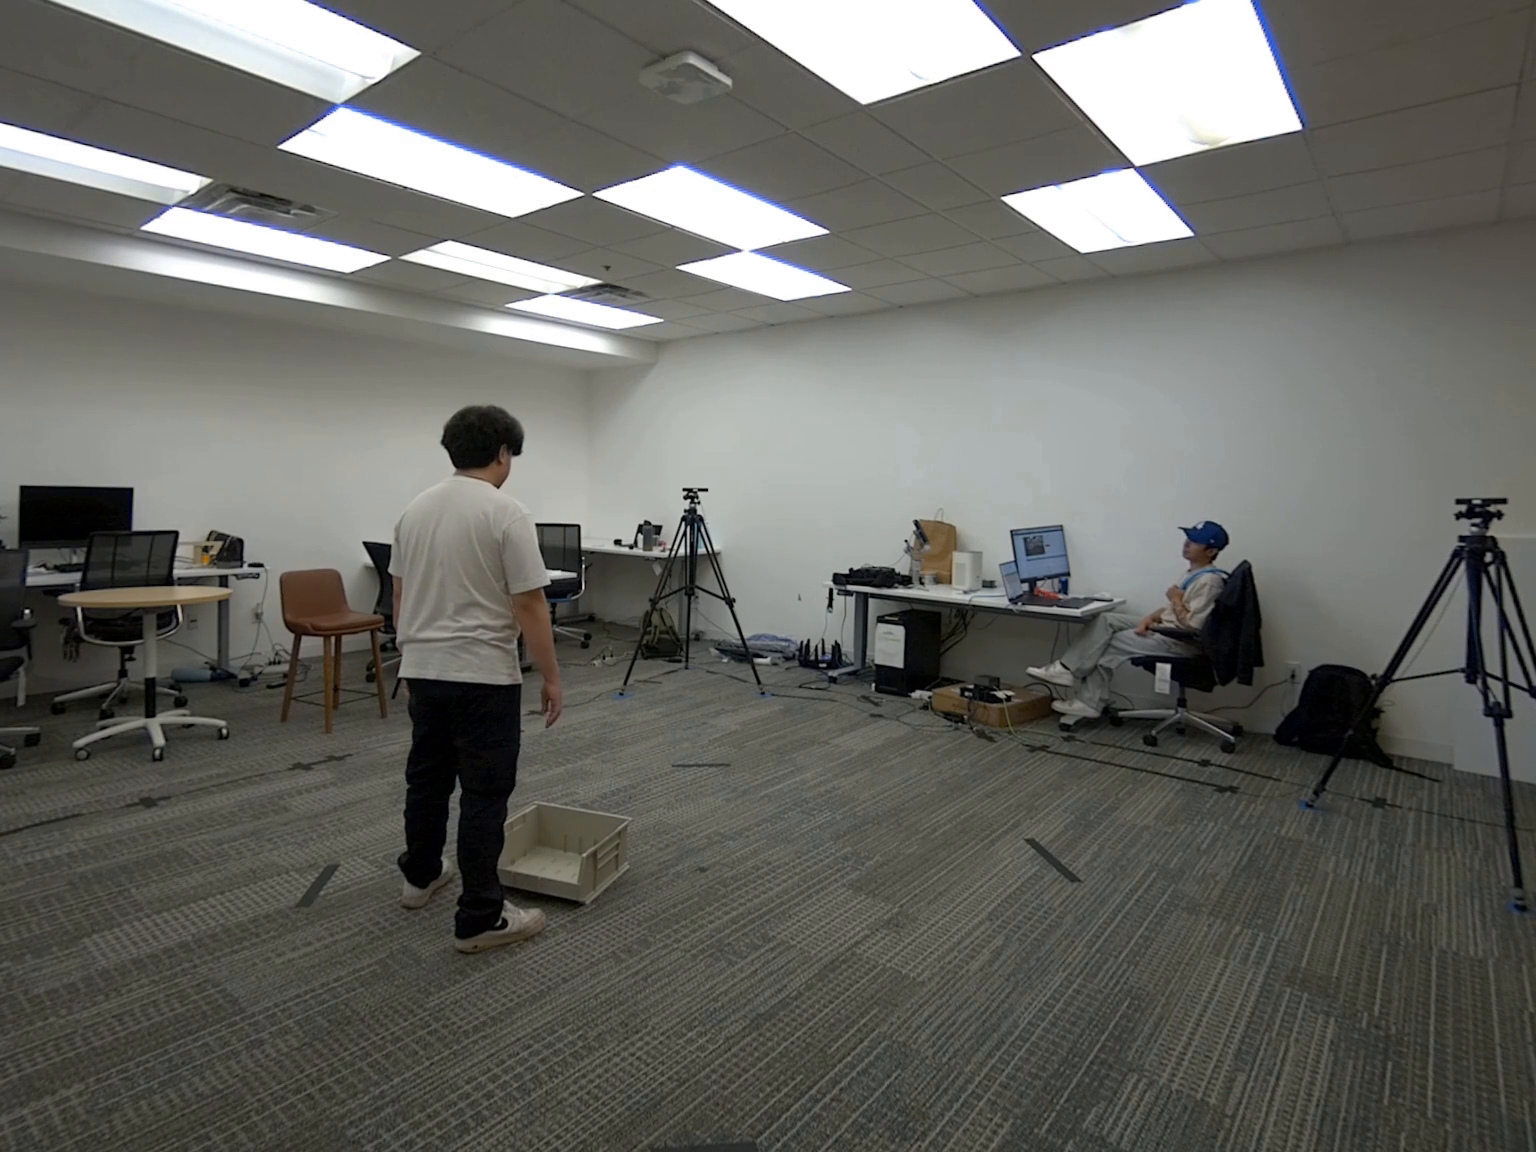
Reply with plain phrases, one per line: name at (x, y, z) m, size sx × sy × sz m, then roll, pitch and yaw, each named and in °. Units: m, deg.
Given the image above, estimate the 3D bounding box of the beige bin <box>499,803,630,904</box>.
beige bin at (-0.763, 0.980, 3.021) m, size 0.431 × 0.188 × 0.371 m, roll 2°, pitch 4°, yaw 19°
